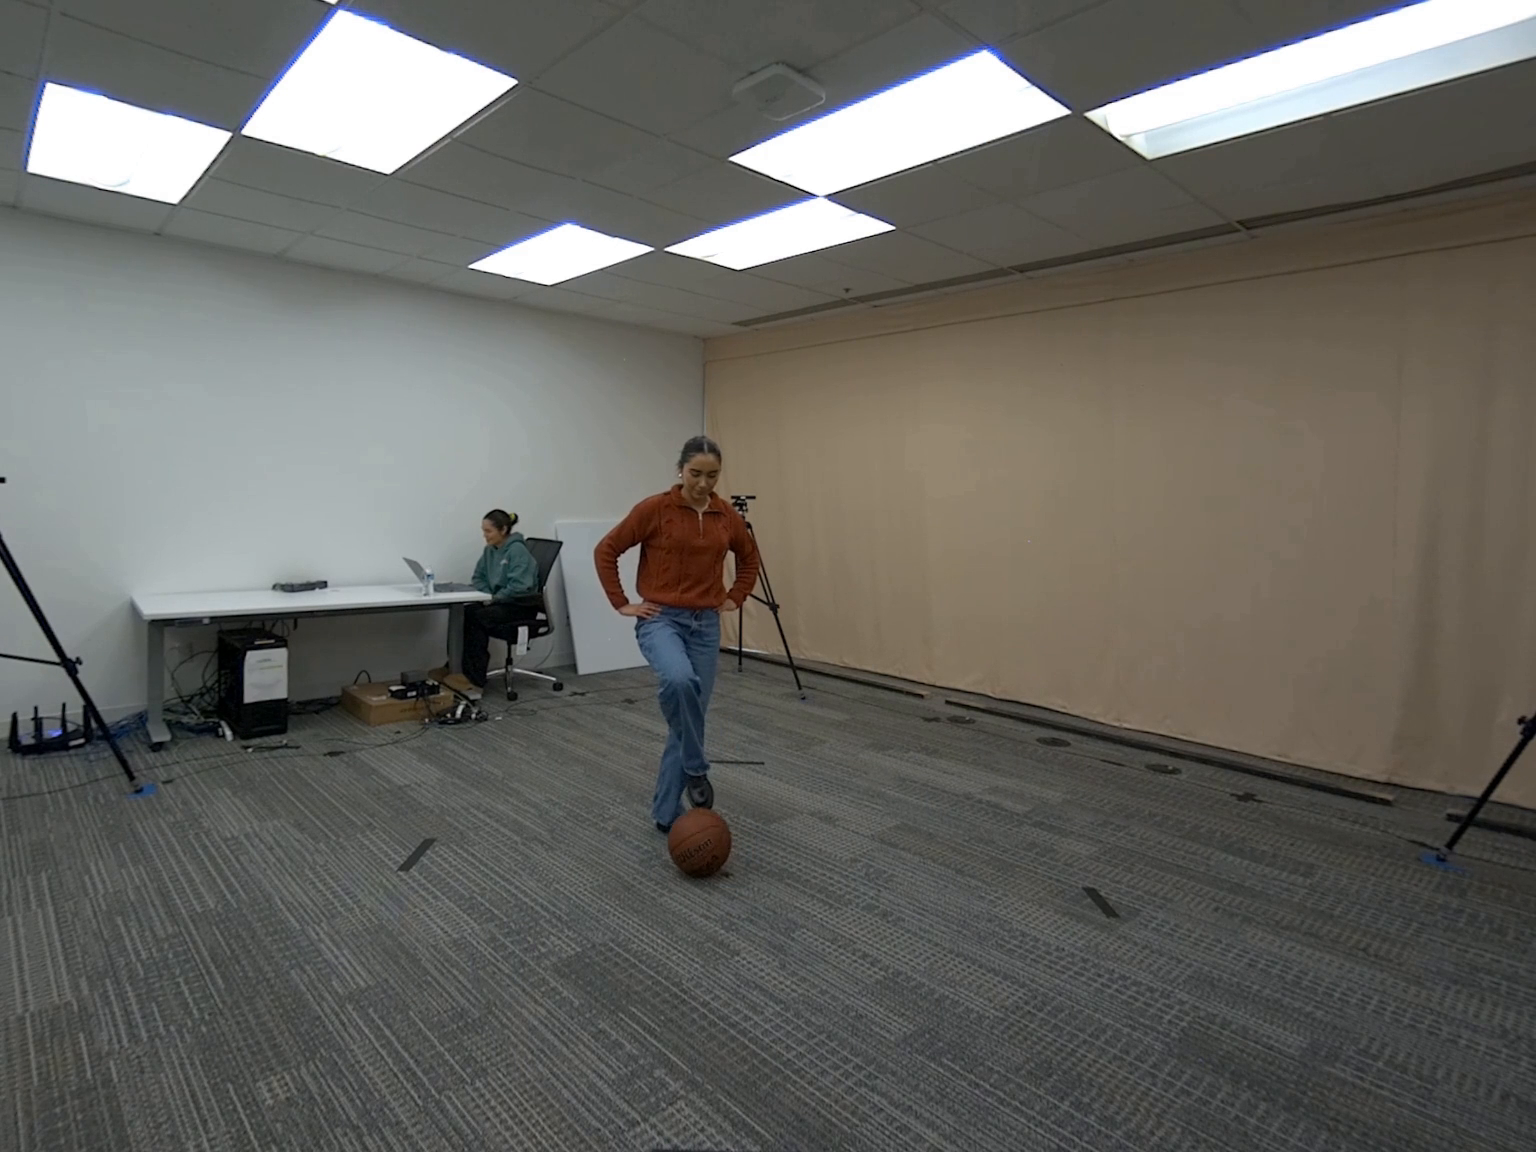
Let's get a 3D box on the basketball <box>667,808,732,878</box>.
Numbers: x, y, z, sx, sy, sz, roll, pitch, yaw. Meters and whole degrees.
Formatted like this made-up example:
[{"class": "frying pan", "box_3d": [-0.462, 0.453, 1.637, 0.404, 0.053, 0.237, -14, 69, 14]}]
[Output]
[{"class": "basketball", "box_3d": [-0.260, 0.979, 3.102, 0.236, 0.235, 0.237, 1, 4, -1]}]
